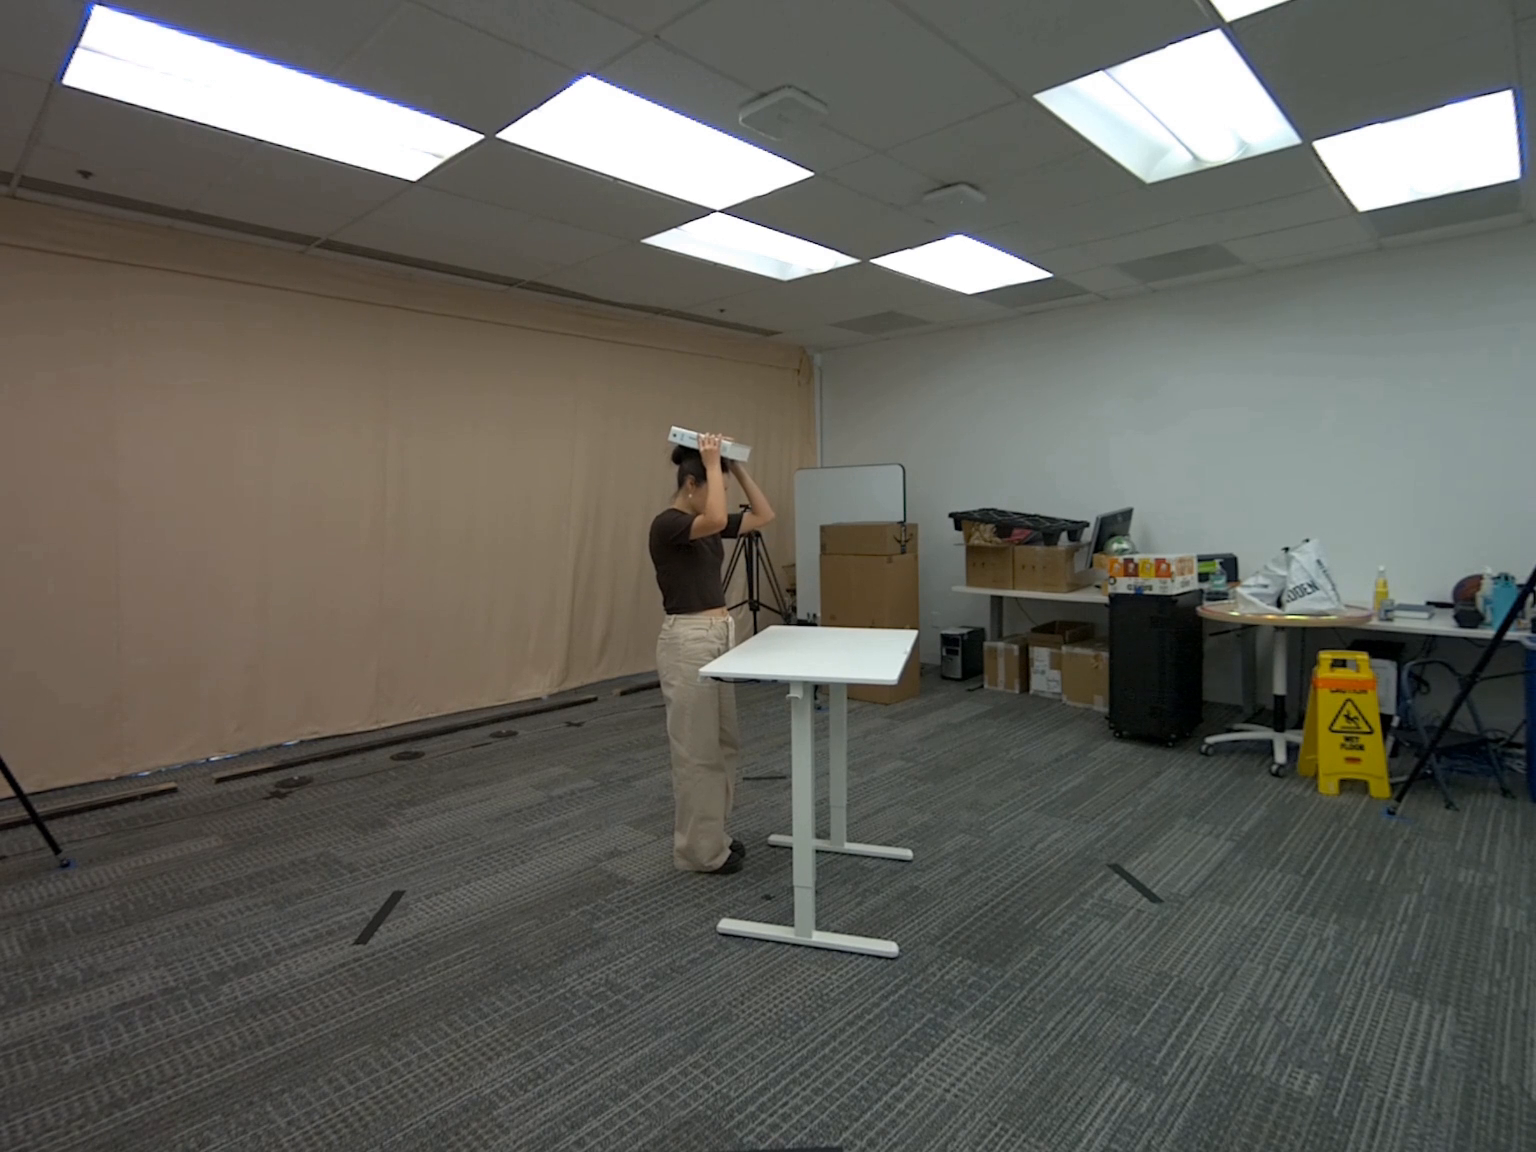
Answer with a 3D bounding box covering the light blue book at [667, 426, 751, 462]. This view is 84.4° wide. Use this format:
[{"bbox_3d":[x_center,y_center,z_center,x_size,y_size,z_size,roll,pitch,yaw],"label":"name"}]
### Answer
[{"bbox_3d":[-0.215,-0.503,3.207,0.268,0.059,0.187,19,9,22],"label":"light blue book"}]
